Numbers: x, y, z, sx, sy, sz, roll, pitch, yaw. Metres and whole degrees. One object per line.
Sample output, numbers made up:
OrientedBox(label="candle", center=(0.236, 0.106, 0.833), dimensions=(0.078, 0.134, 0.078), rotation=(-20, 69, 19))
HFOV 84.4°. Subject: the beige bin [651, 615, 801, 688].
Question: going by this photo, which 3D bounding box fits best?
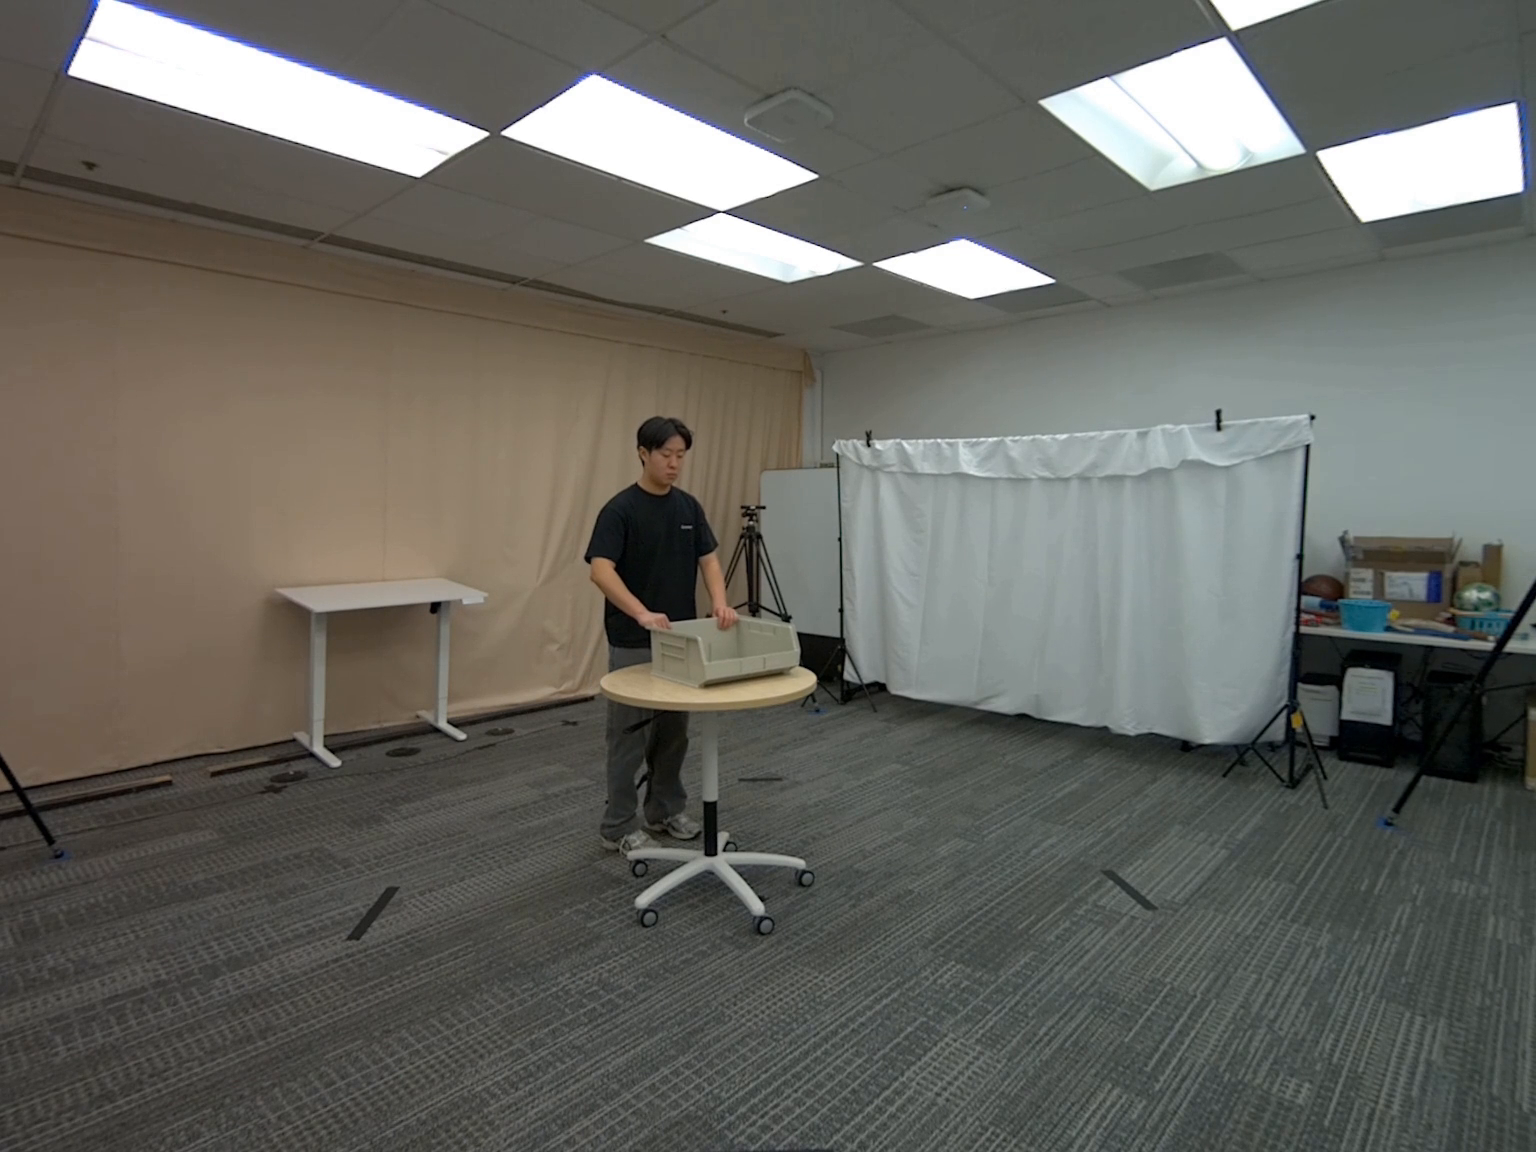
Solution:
OrientedBox(label="beige bin", center=(-0.162, 0.268, 3.043), dimensions=(0.410, 0.188, 0.389), rotation=(-5, 5, -36))
